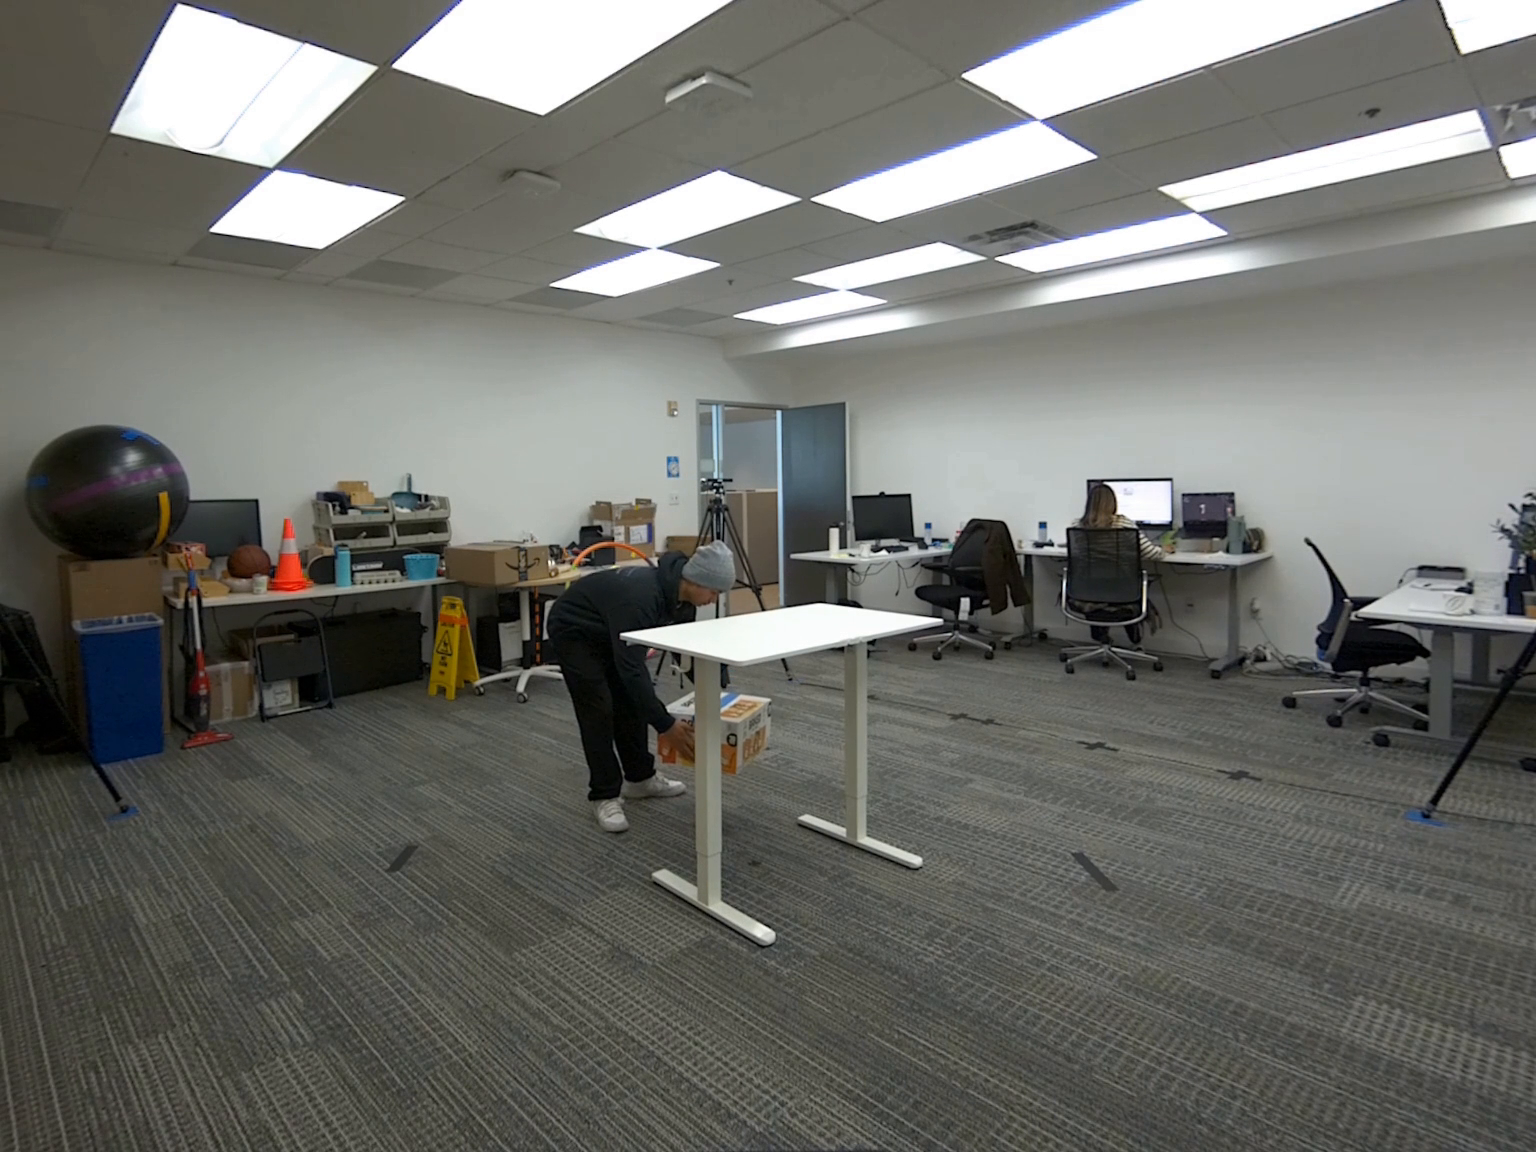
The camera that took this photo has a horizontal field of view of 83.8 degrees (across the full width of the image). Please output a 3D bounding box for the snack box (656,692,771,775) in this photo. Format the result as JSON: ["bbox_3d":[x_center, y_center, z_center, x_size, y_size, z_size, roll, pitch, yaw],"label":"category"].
[{"bbox_3d":[-0.213,0.620,3.477,0.347,0.205,0.399,5,6,19],"label":"snack box"}]
